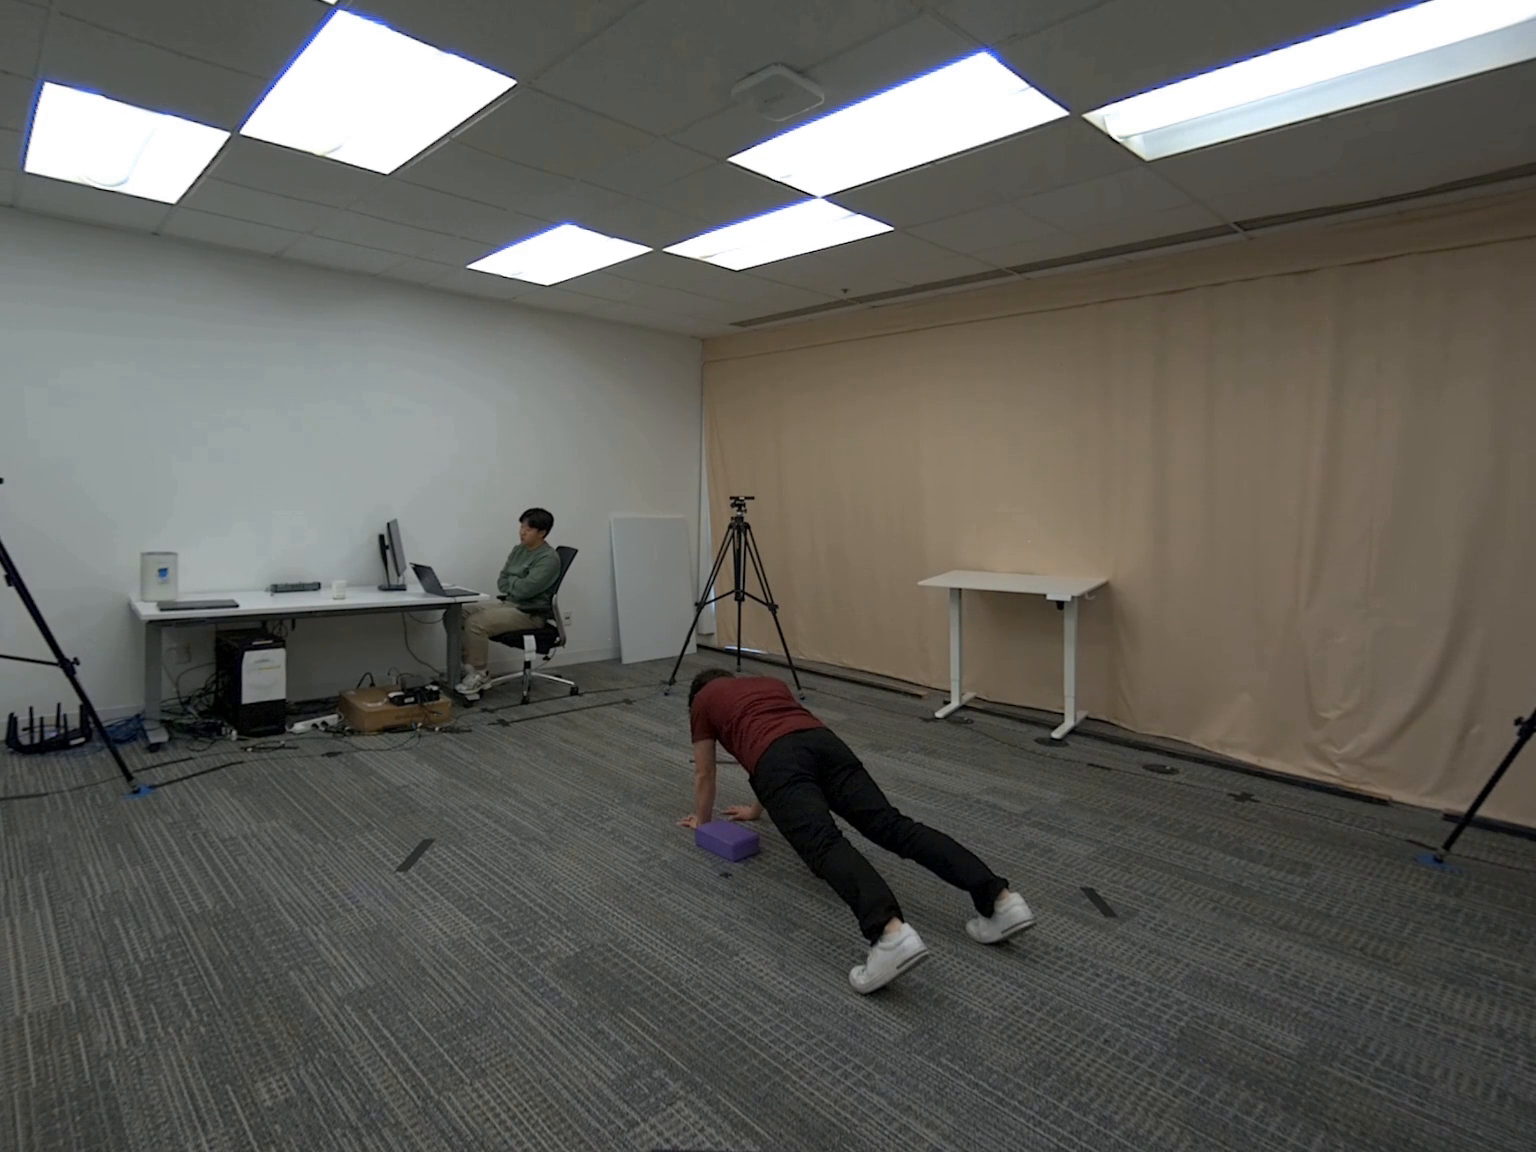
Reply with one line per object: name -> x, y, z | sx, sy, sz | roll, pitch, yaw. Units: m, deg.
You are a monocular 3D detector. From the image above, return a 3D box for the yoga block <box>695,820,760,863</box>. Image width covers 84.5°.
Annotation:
yoga block -> -0.168, 1.041, 3.328 | 0.145, 0.076, 0.235 | -4, 7, -44
